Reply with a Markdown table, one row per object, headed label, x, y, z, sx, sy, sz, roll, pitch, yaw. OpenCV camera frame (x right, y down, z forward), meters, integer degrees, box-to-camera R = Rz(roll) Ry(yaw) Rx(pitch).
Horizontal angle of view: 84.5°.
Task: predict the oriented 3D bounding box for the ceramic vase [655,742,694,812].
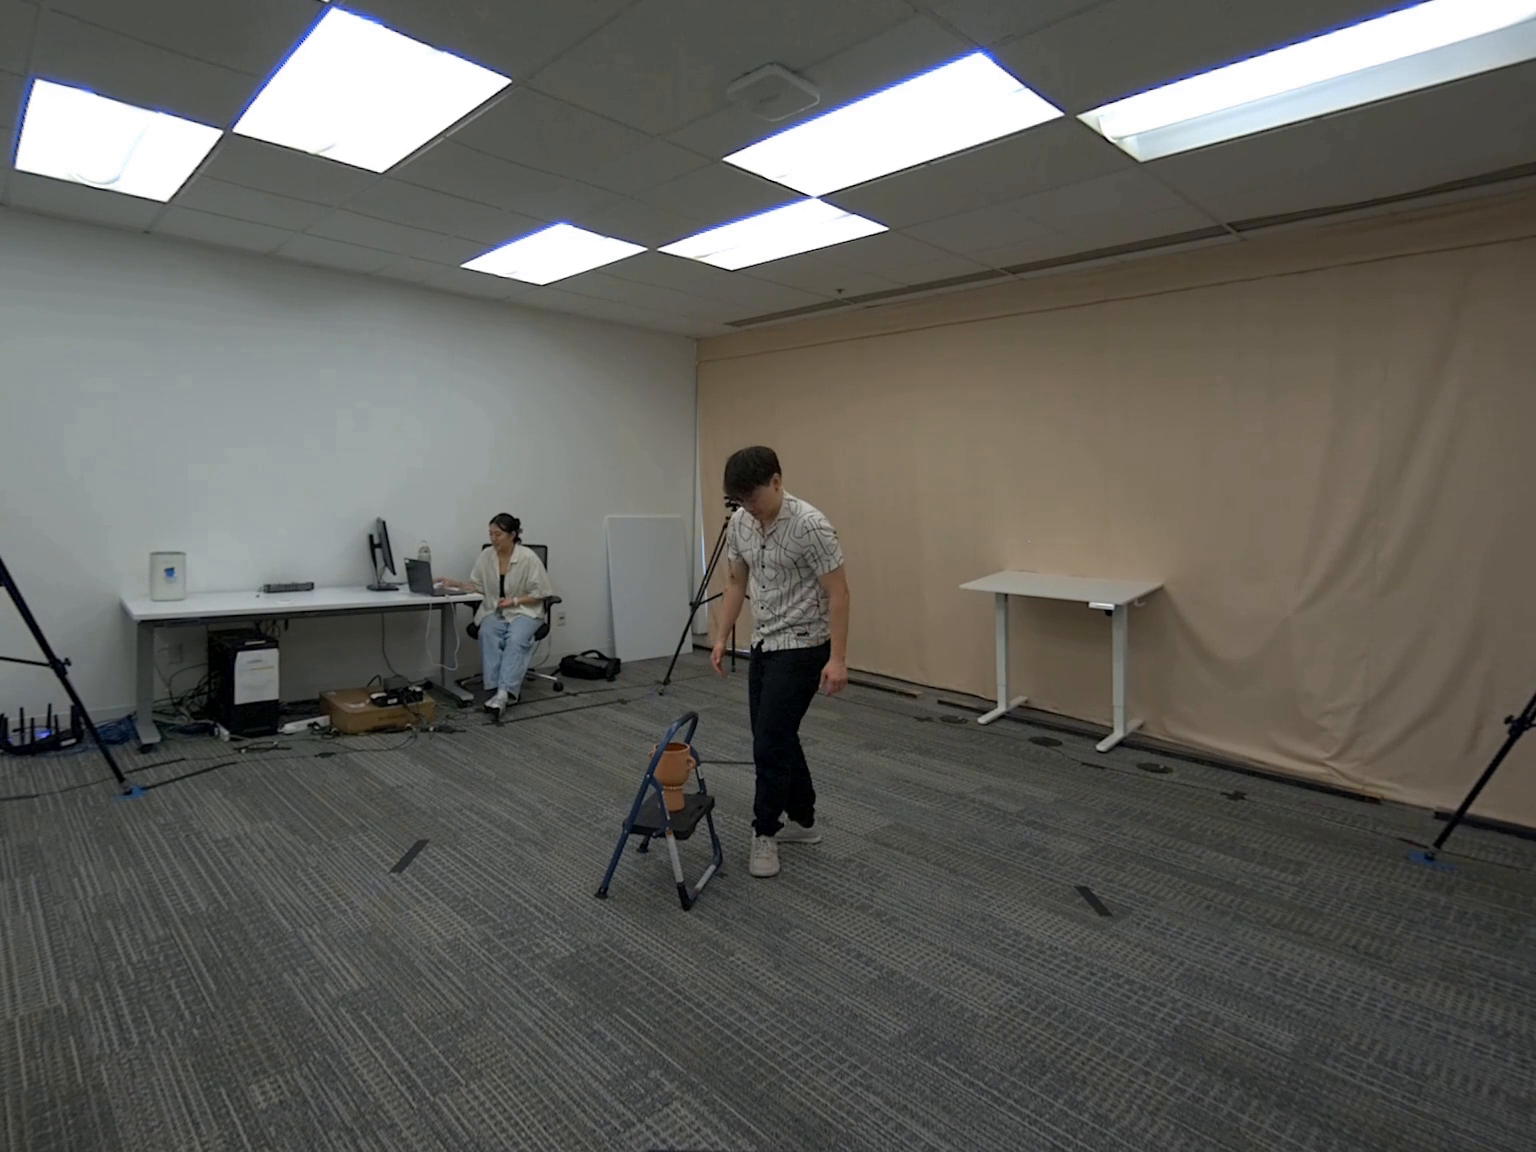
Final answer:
| label | x | y | z | sx | sy | sz | roll | pitch | yaw |
| --- | --- | --- | --- | --- | --- | --- | --- | --- | --- |
| ceramic vase | -0.354 | 0.723 | 3.064 | 0.132 | 0.219 | 0.162 | 0 | 2 | -27 |
